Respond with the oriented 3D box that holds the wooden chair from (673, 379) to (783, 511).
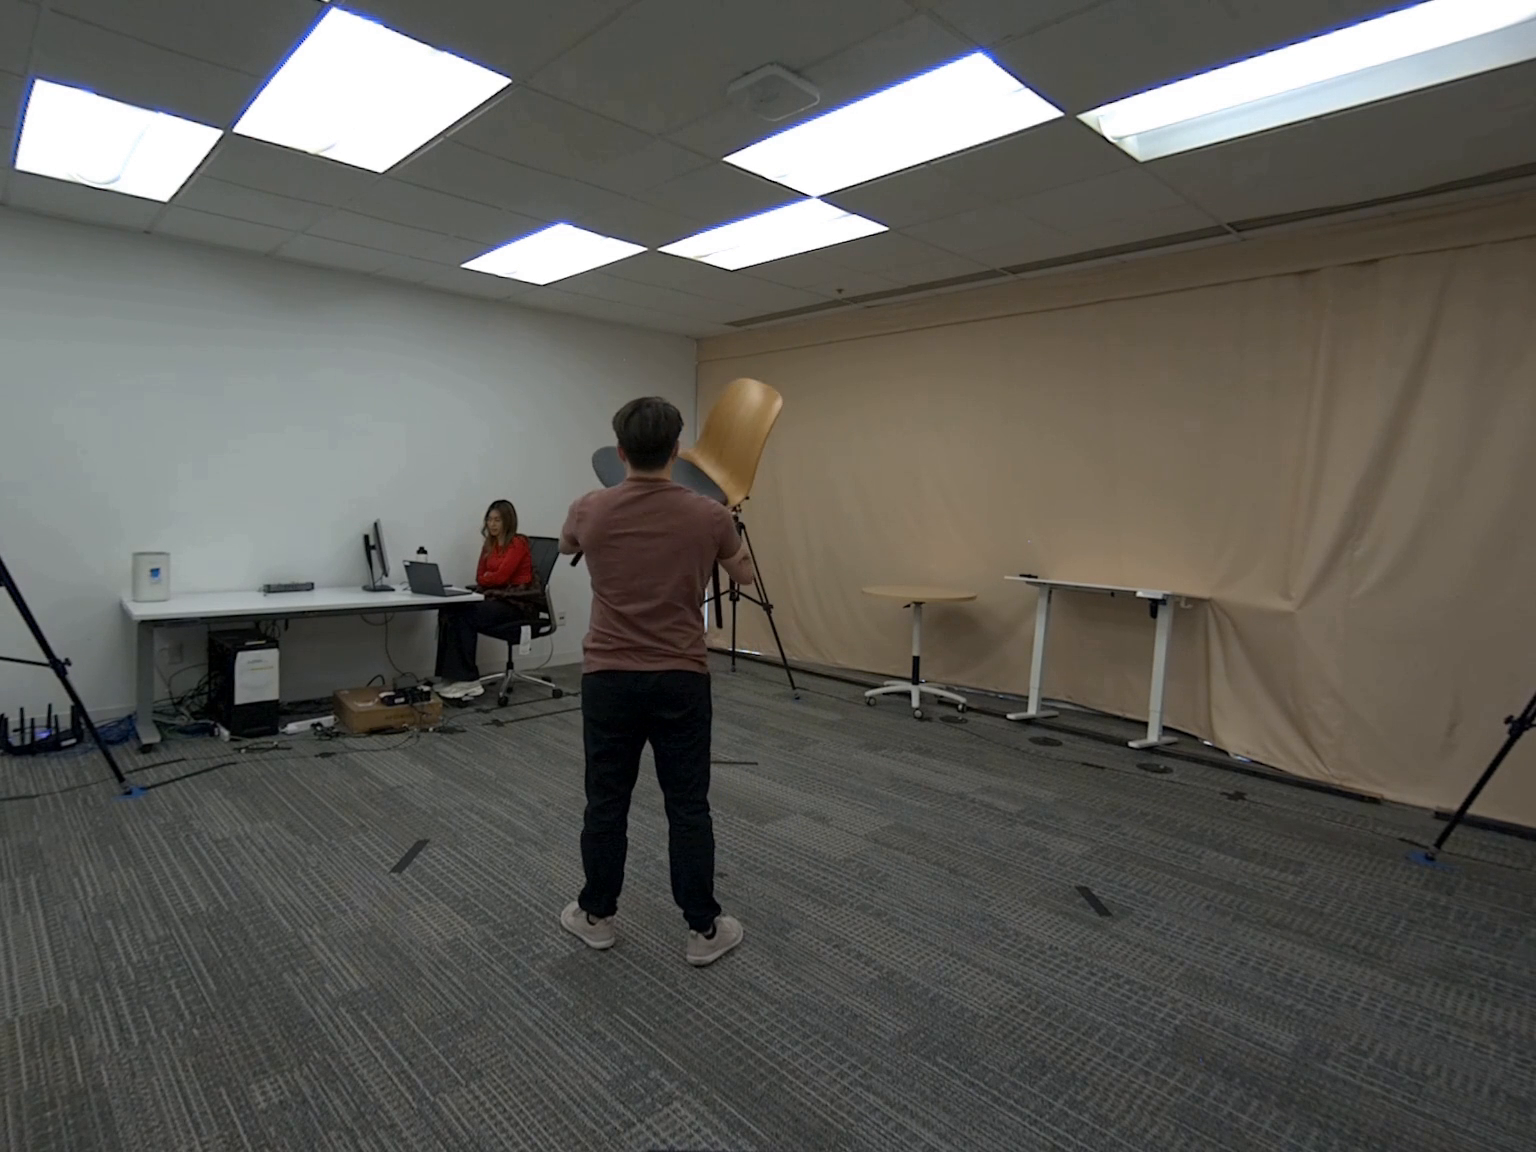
[{"bbox_3d":[-0.347,-0.289,2.954,0.511,0.870,0.493,7,25,-33],"label":"wooden chair"}]
